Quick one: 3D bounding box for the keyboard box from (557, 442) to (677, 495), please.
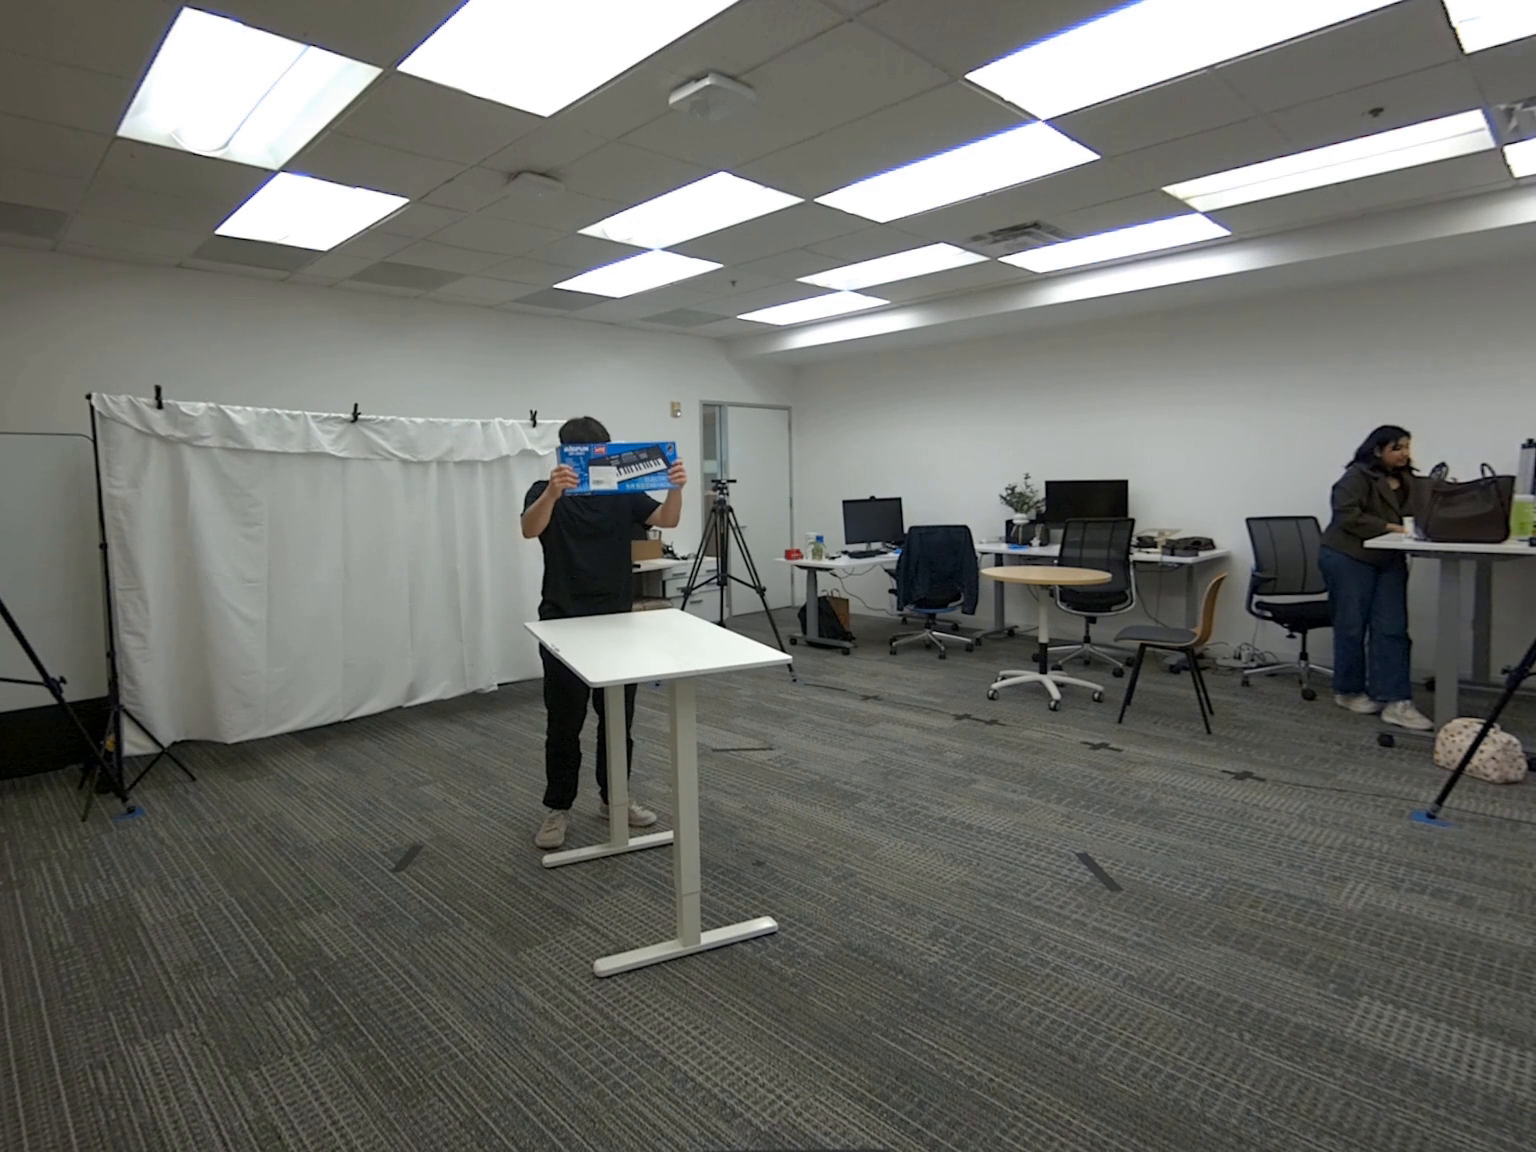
[{"bbox_3d":[-0.538,-0.382,3.074,0.428,0.176,0.060,-7,0,-26],"label":"keyboard box"}]
